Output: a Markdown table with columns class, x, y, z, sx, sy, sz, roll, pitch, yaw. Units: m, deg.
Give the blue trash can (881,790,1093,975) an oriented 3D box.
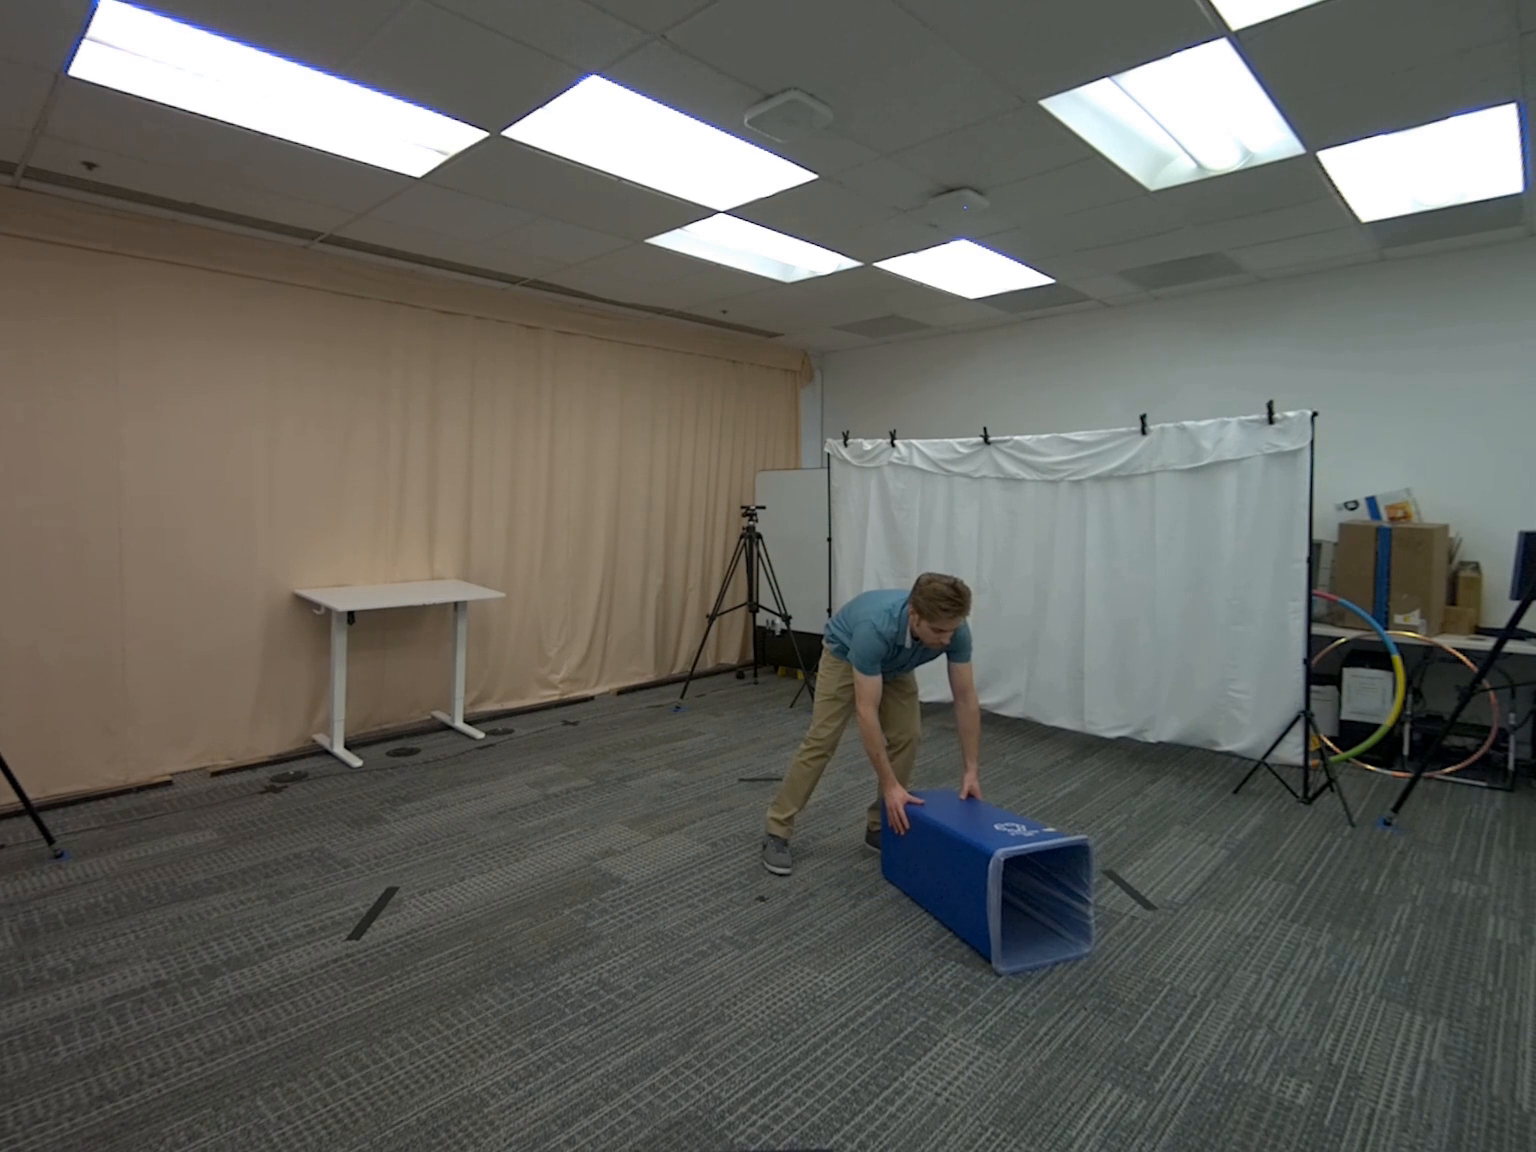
| class | x | y | z | sx | sy | sz | roll | pitch | yaw |
| --- | --- | --- | --- | --- | --- | --- | --- | --- | --- |
| blue trash can | 0.706 | 0.980 | 2.867 | 0.366 | 0.378 | 0.729 | -1 | 1 | -23 |
